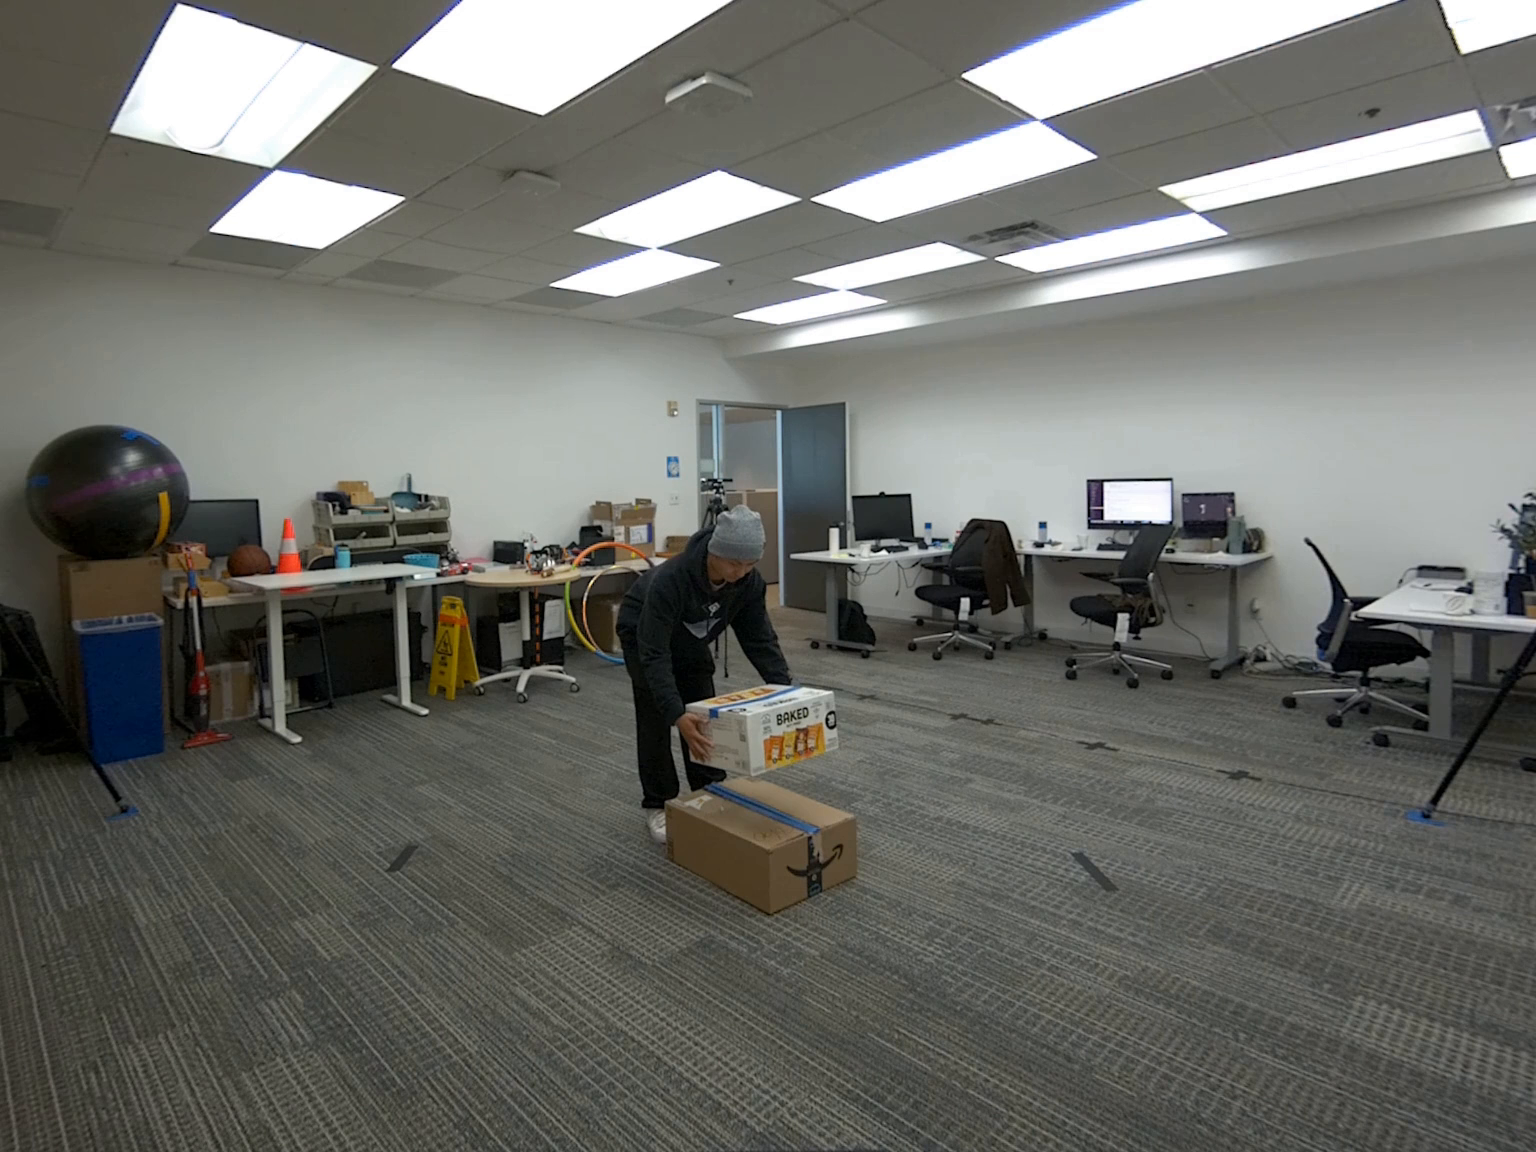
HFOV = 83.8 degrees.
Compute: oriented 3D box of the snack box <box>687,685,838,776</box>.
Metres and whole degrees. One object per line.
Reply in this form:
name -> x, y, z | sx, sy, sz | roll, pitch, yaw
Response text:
snack box -> -0.019, 0.529, 2.993 | 0.395, 0.205, 0.349 | -8, 3, -39
